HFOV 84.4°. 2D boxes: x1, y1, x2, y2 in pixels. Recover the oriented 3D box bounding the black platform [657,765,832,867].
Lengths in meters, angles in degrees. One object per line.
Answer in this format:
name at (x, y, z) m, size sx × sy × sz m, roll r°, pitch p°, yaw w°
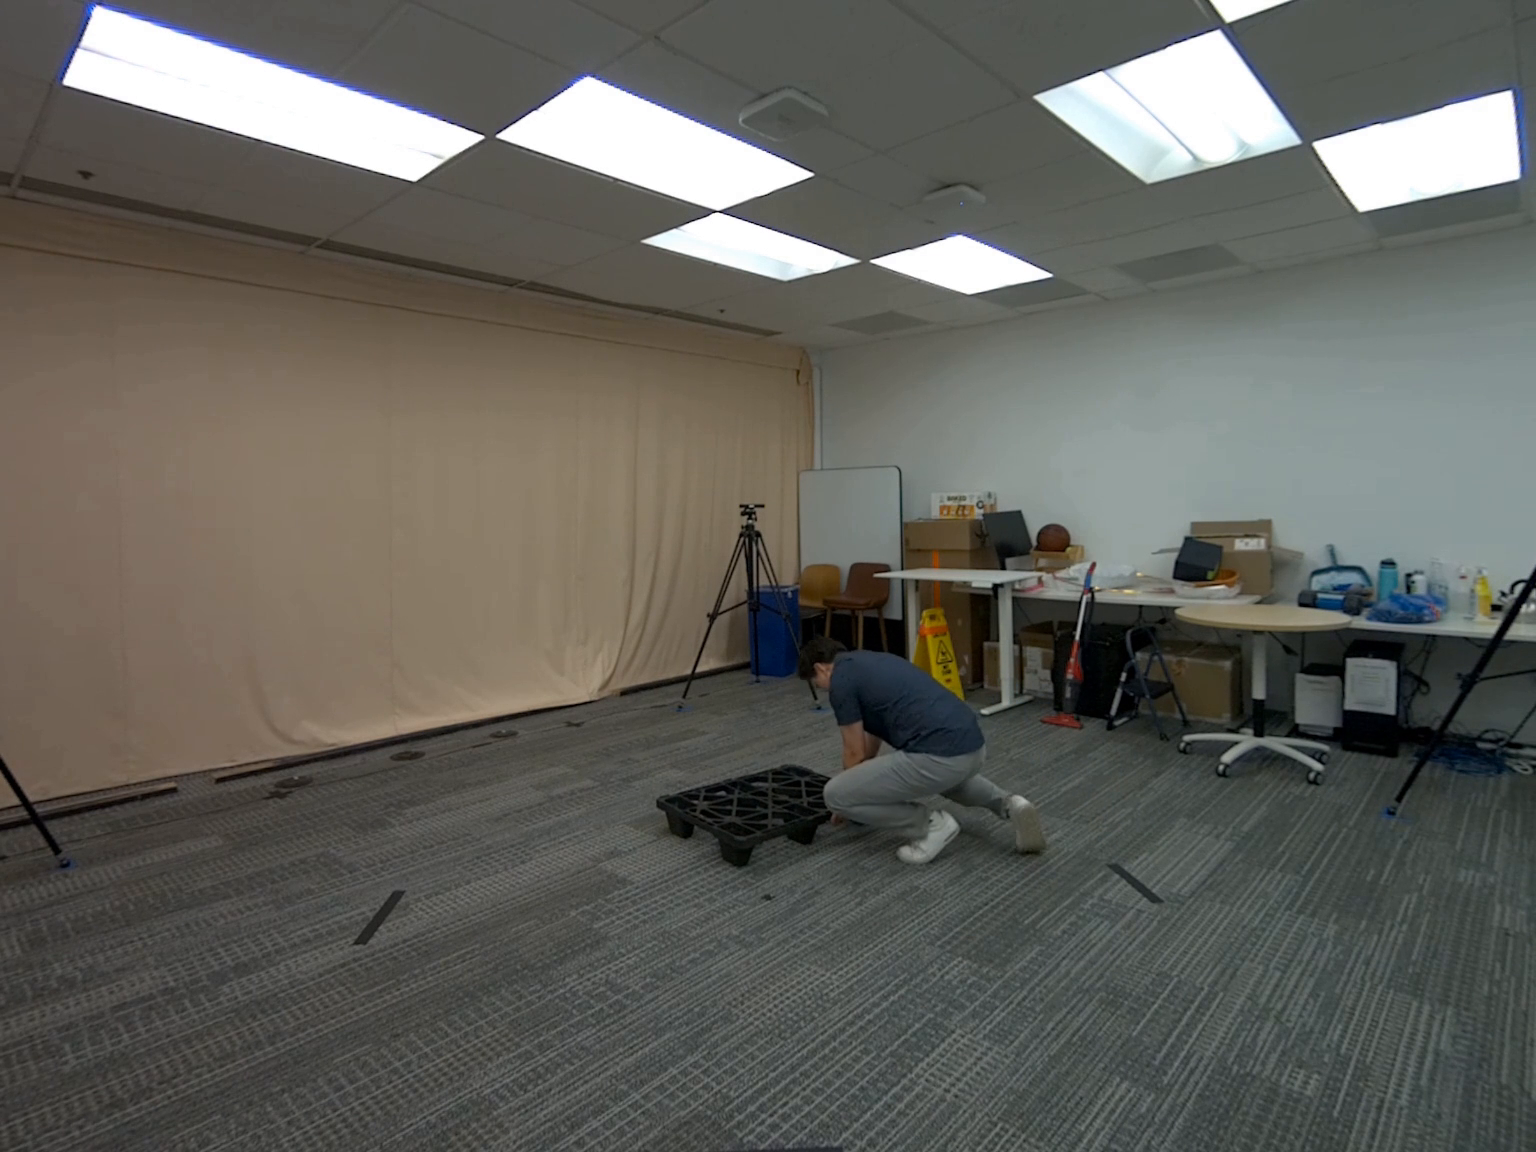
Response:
black platform at (0.008, 1.018, 3.632) m, size 0.781 × 0.143 × 0.625 m, roll -4°, pitch 5°, yaw -38°
